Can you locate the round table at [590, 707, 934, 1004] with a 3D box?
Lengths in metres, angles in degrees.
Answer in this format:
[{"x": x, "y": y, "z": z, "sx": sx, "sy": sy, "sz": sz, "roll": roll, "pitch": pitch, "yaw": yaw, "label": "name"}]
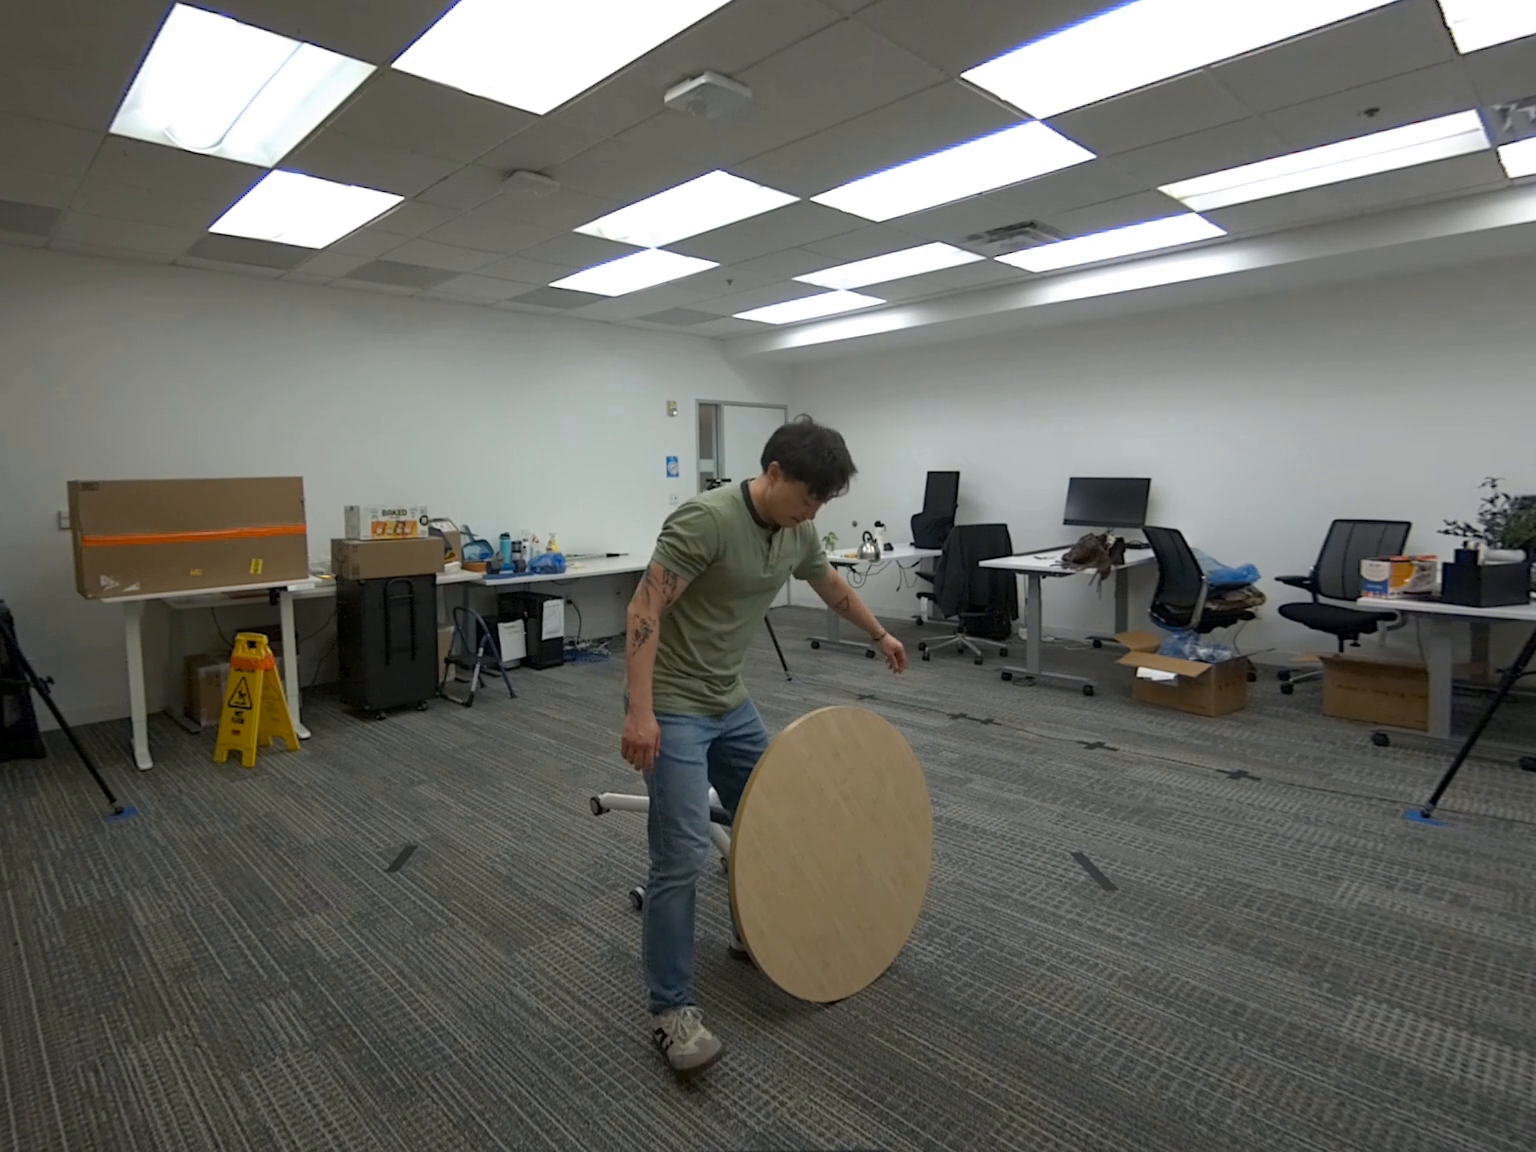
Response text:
[{"x": -0.048, "y": 0.767, "z": 2.653, "sx": 0.744, "sy": 0.765, "sz": 0.814, "roll": -5, "pitch": 0, "yaw": -40, "label": "round table"}]
